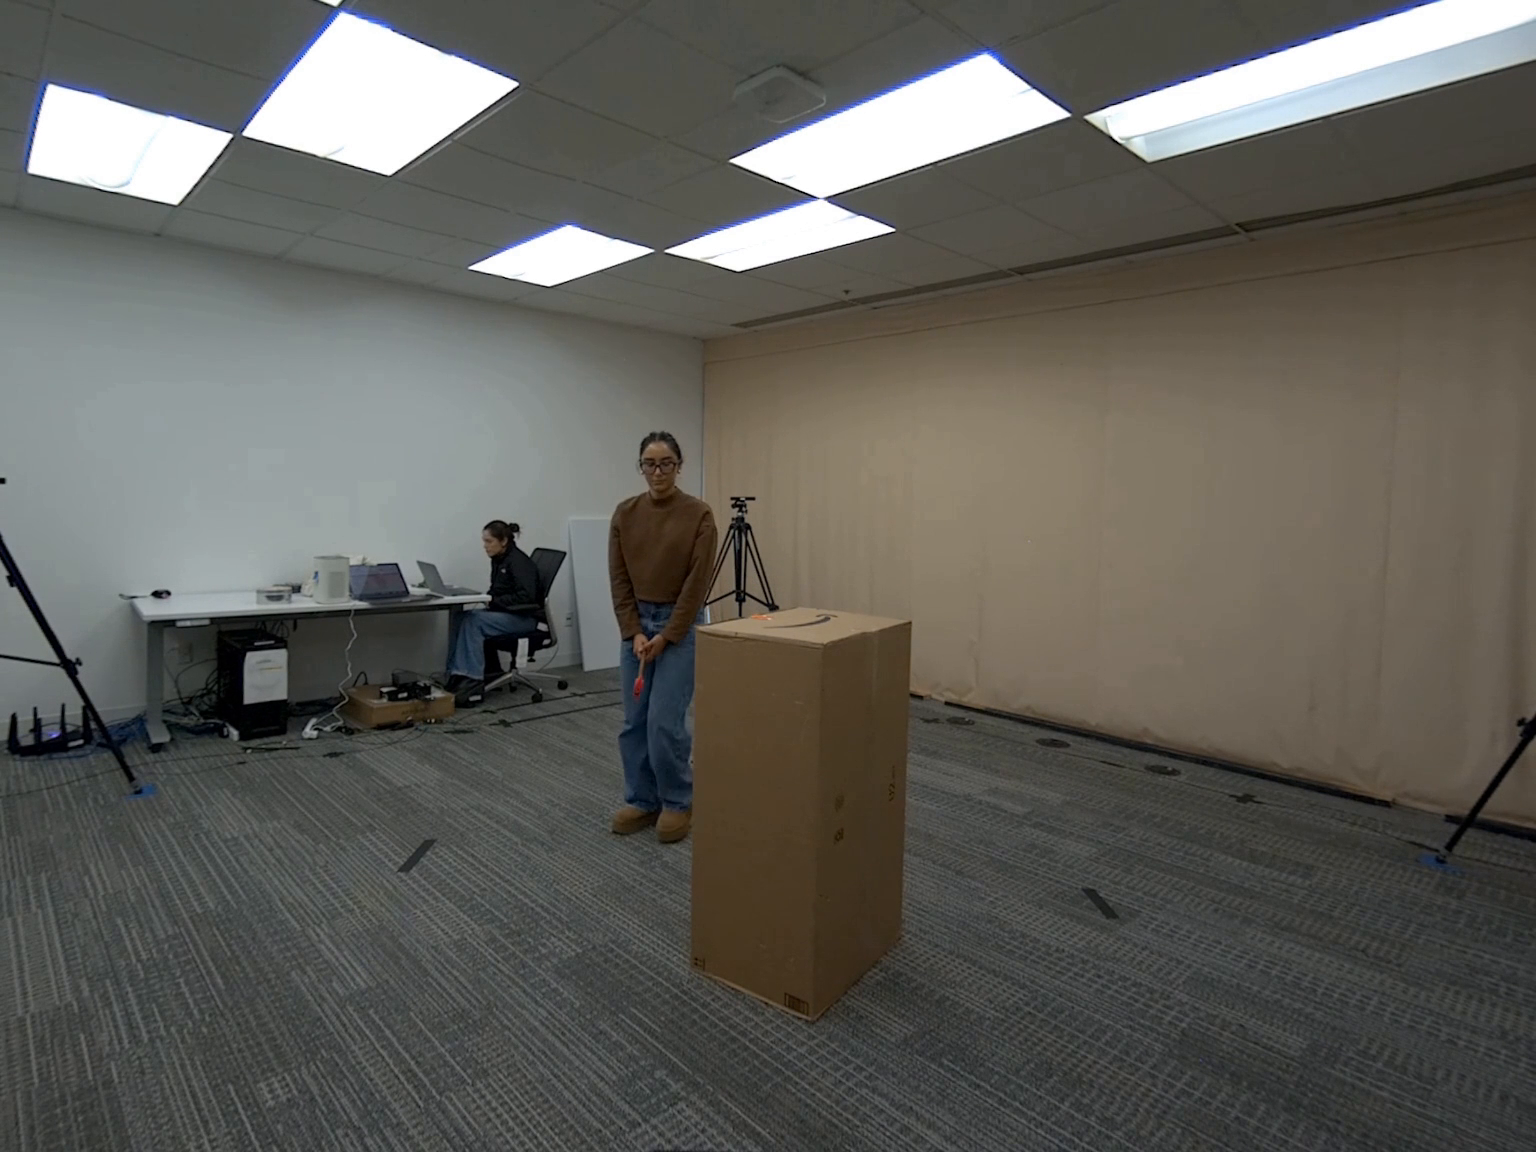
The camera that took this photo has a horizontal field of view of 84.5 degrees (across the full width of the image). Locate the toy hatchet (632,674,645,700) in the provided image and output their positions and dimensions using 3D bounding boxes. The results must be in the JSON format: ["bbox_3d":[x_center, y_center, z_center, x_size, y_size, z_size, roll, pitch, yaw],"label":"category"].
[{"bbox_3d":[-0.496,0.384,3.273,0.030,0.129,0.273,9,23,3],"label":"toy hatchet"}]
